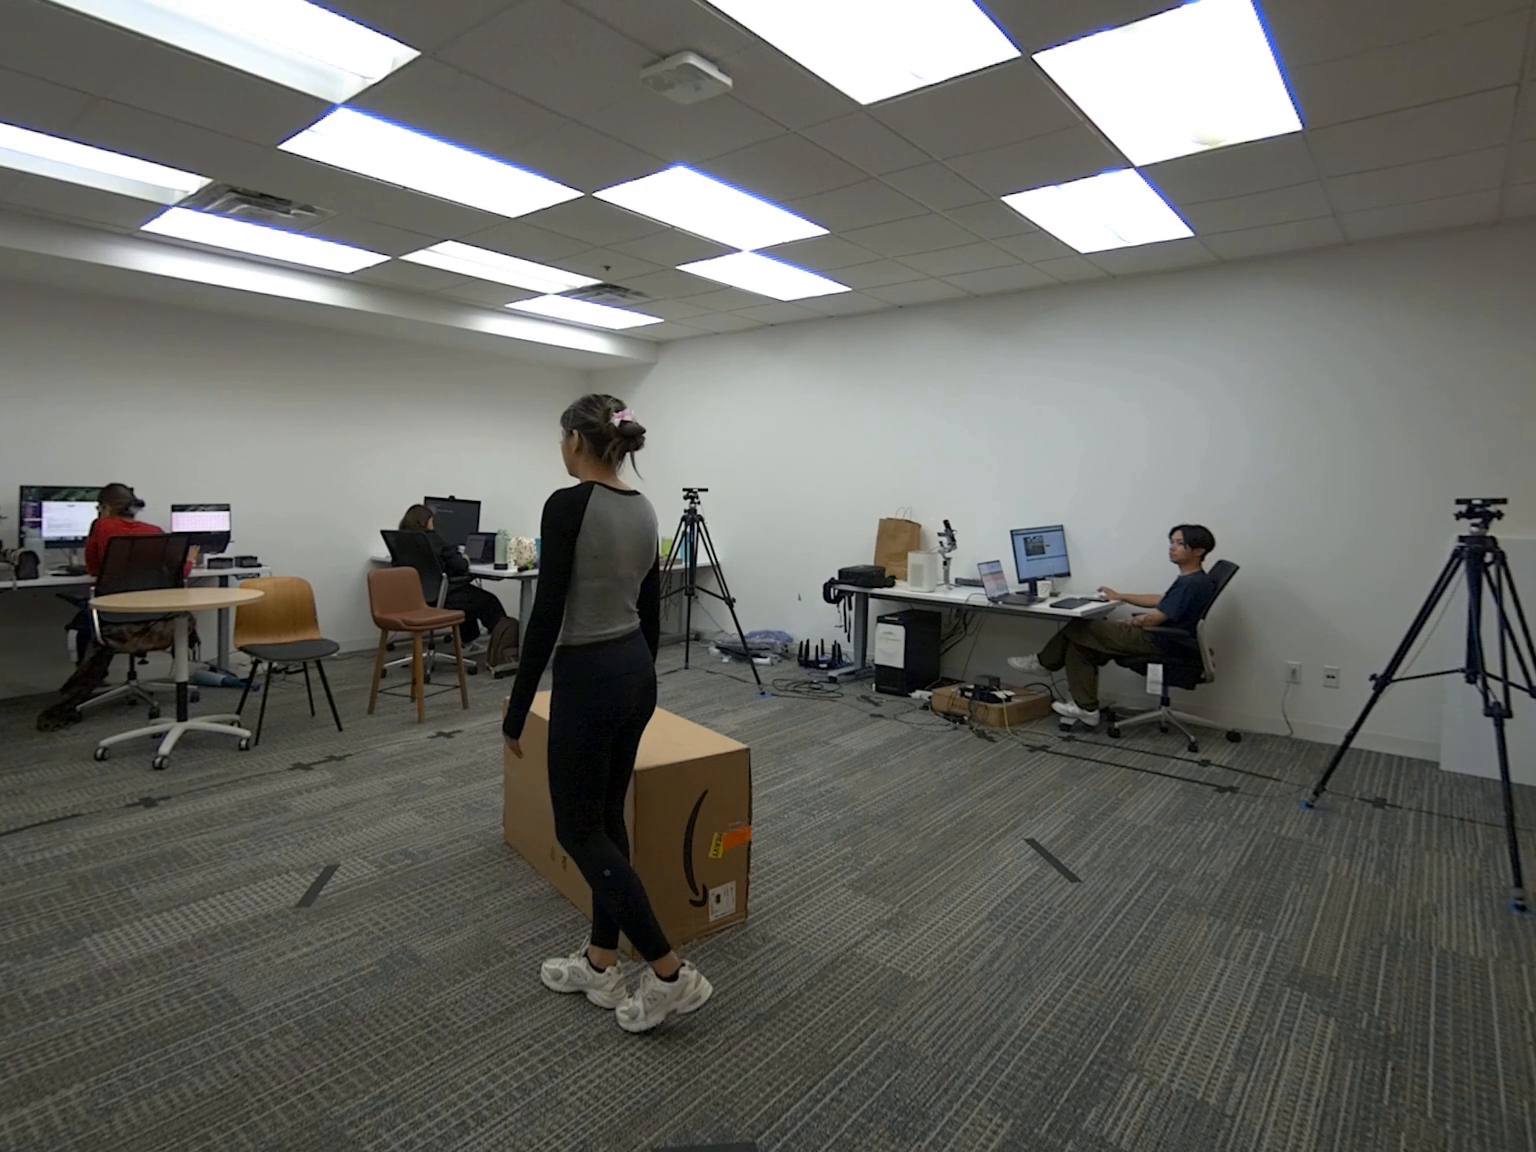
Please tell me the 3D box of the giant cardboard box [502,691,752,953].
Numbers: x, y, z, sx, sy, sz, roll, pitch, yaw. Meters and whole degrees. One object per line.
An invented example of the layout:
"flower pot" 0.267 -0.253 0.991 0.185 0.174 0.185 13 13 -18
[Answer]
"giant cardboard box" -0.546 0.787 3.012 0.414 0.575 1.060 -2 6 -37
